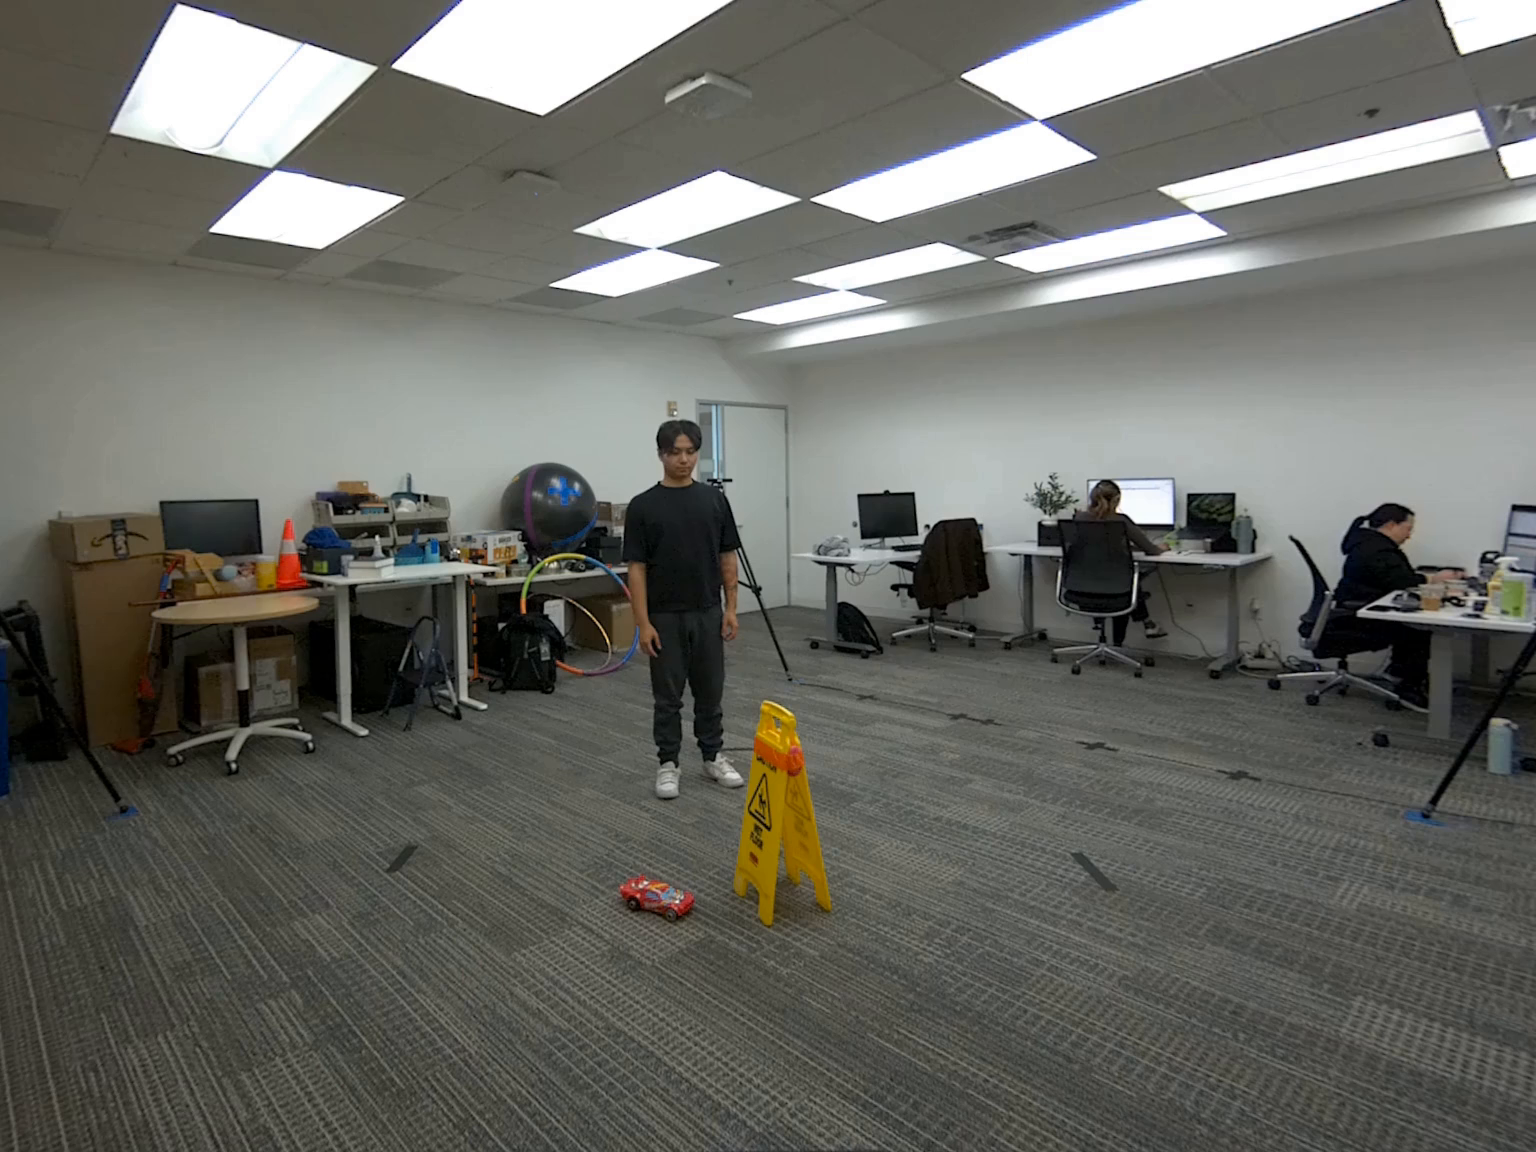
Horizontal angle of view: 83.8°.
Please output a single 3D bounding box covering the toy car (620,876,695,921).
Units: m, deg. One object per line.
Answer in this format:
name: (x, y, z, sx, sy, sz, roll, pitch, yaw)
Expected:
toy car: (-0.365, 1.062, 2.802, 0.262, 0.082, 0.128, 13, 15, 28)
